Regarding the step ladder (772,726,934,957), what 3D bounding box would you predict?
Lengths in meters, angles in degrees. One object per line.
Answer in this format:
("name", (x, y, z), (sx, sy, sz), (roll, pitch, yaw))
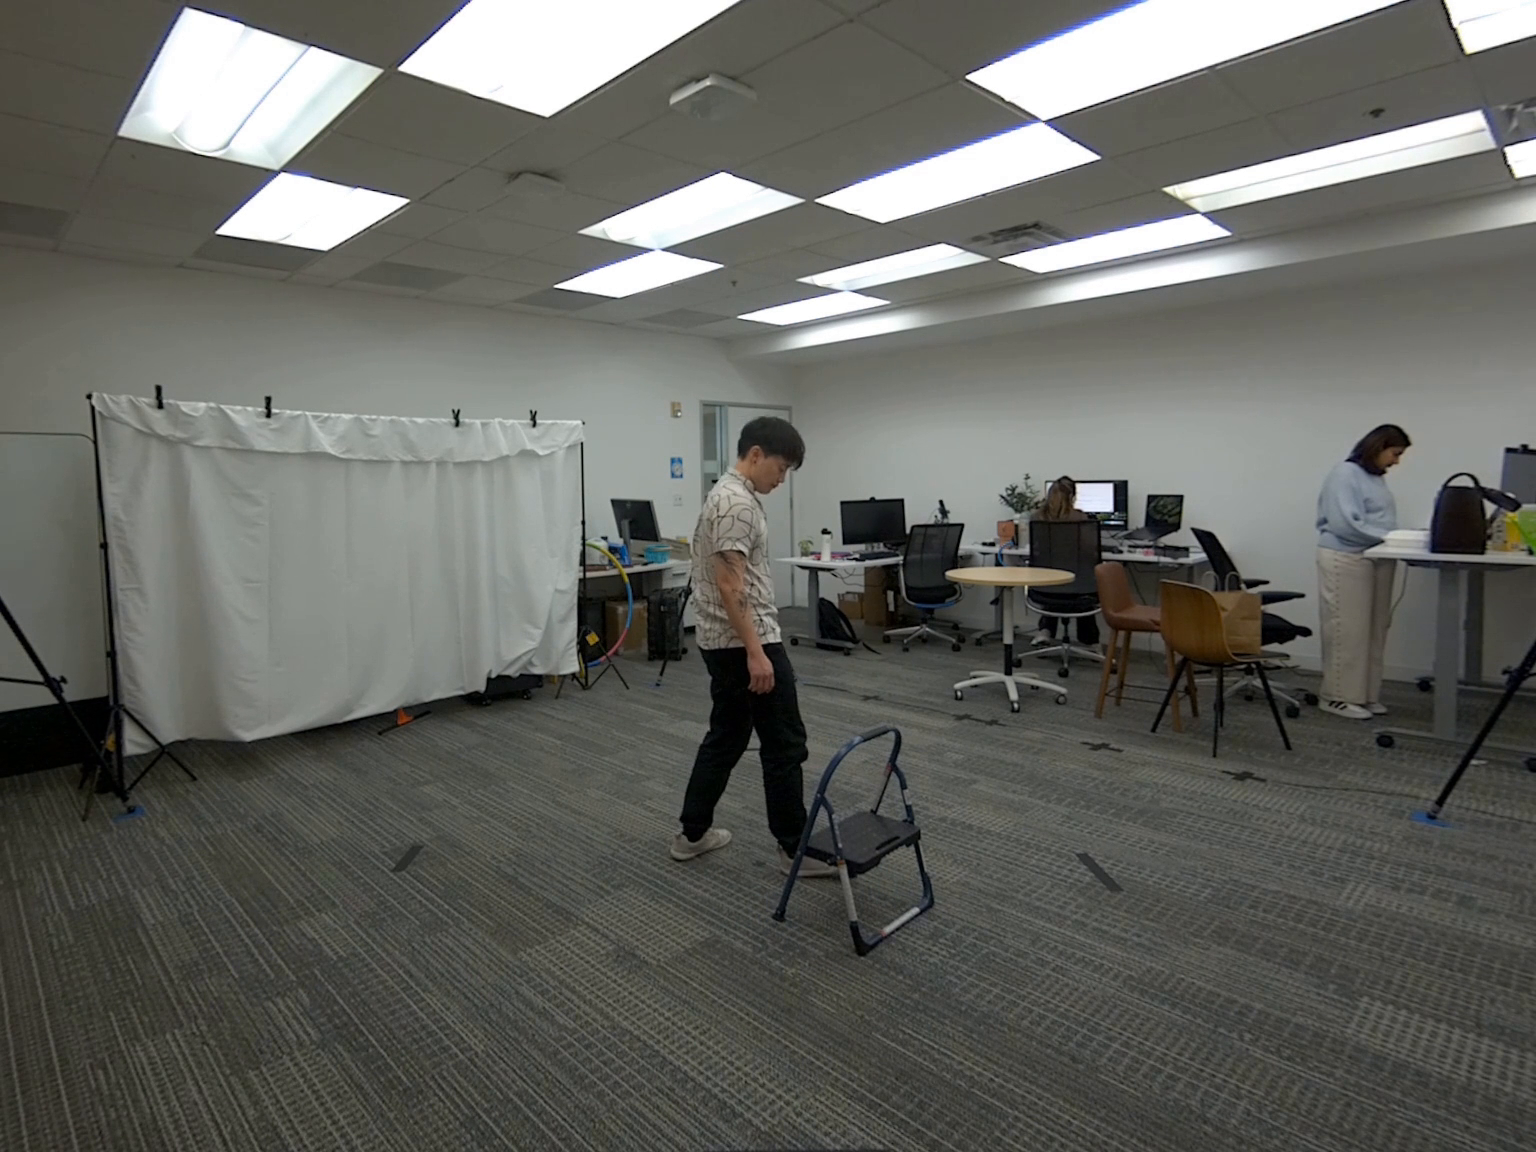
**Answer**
("step ladder", (0.276, 0.780, 2.737), (0.360, 0.604, 0.419), (3, 6, 42))
